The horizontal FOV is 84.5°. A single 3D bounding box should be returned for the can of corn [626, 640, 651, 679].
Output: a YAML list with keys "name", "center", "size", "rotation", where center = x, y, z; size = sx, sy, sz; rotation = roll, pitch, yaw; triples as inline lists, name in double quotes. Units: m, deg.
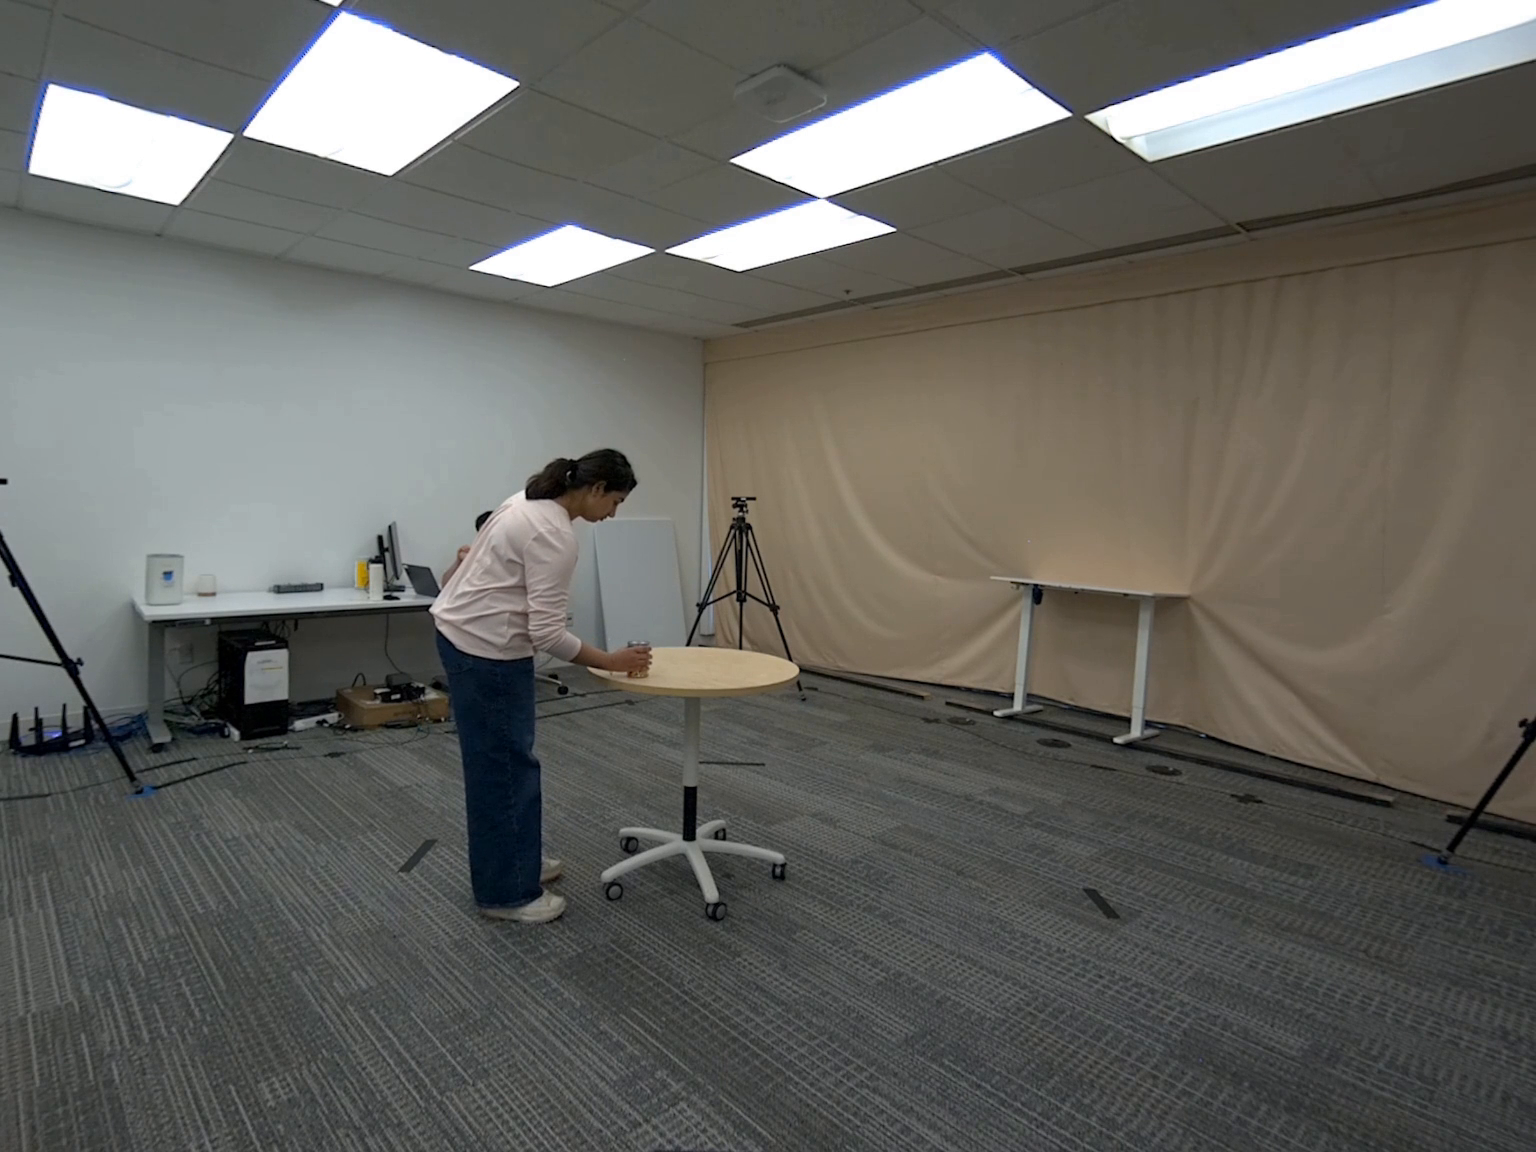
- name: "can of corn"
  center: [-0.448, 0.282, 2.840]
  size: [0.074, 0.111, 0.074]
  rotation: [0, 2, -1]
